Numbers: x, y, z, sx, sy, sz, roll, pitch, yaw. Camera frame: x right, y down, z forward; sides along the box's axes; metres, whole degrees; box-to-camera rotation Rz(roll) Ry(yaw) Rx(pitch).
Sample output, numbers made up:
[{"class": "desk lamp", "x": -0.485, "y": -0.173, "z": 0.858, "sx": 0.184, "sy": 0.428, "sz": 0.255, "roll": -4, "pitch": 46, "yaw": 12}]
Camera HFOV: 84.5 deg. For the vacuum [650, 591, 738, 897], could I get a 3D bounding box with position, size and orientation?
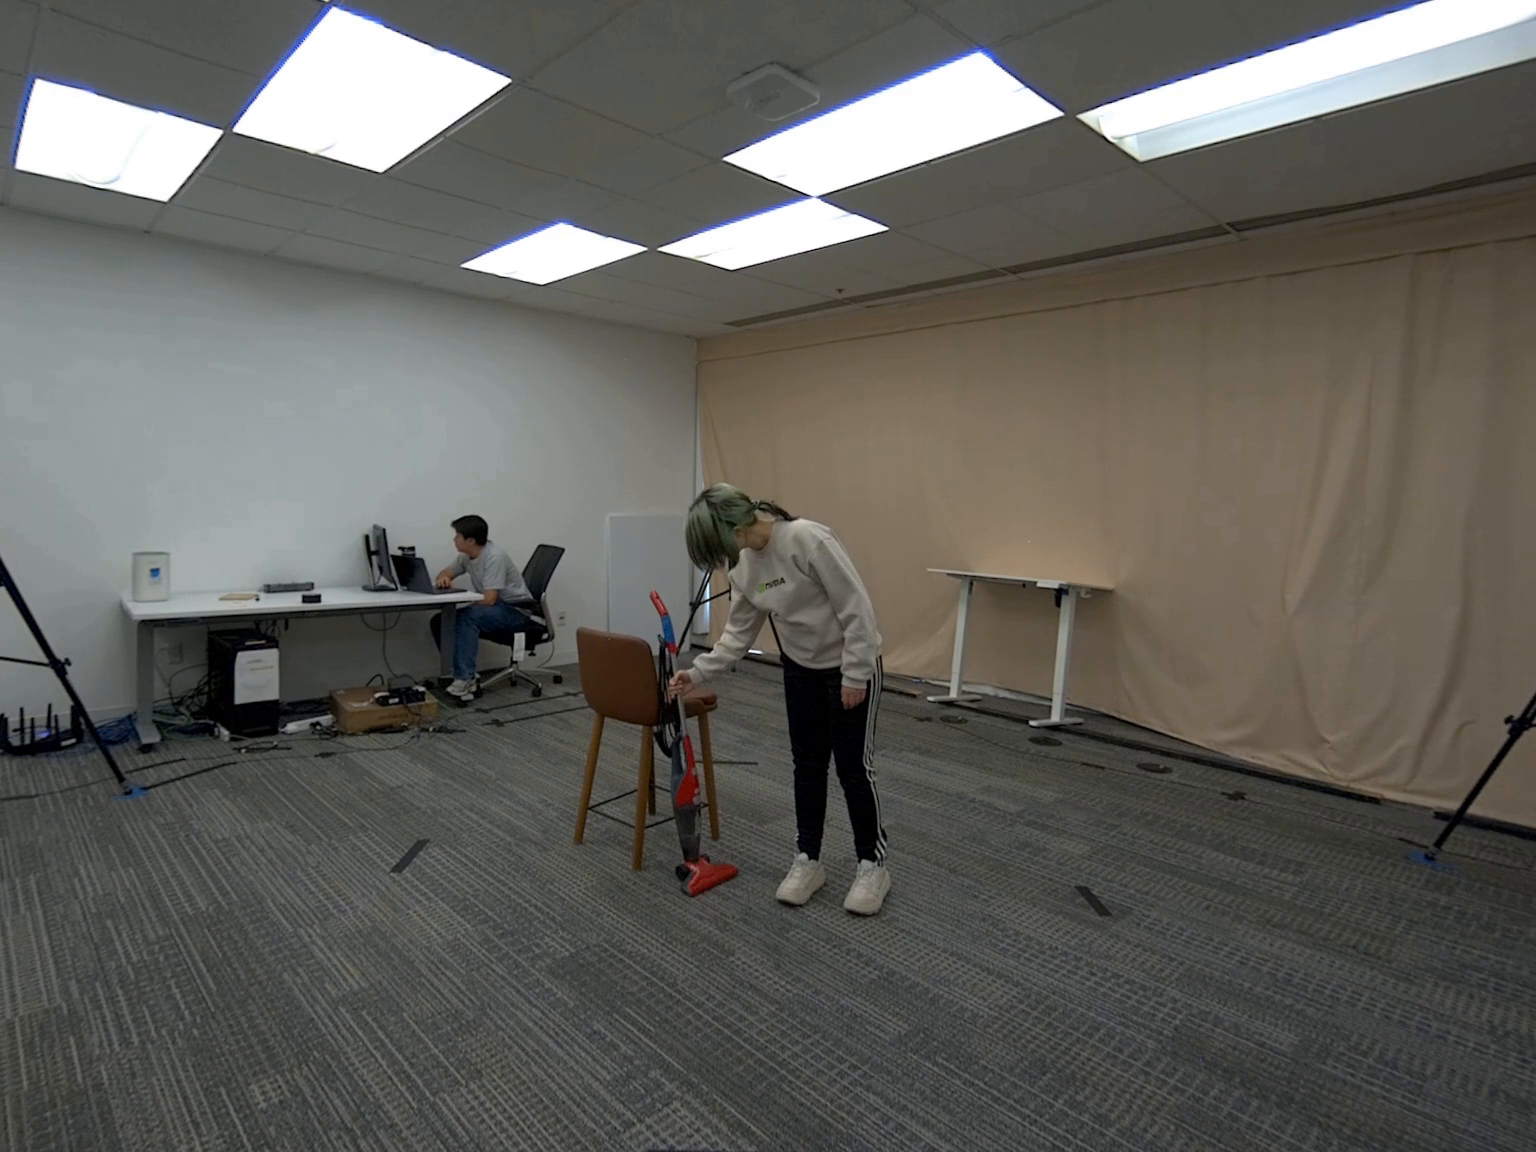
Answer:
[{"class": "vacuum", "x": -0.333, "y": 0.586, "z": 3.099, "sx": 0.247, "sy": 1.053, "sz": 0.146, "roll": -6, "pitch": -6, "yaw": -44}]
